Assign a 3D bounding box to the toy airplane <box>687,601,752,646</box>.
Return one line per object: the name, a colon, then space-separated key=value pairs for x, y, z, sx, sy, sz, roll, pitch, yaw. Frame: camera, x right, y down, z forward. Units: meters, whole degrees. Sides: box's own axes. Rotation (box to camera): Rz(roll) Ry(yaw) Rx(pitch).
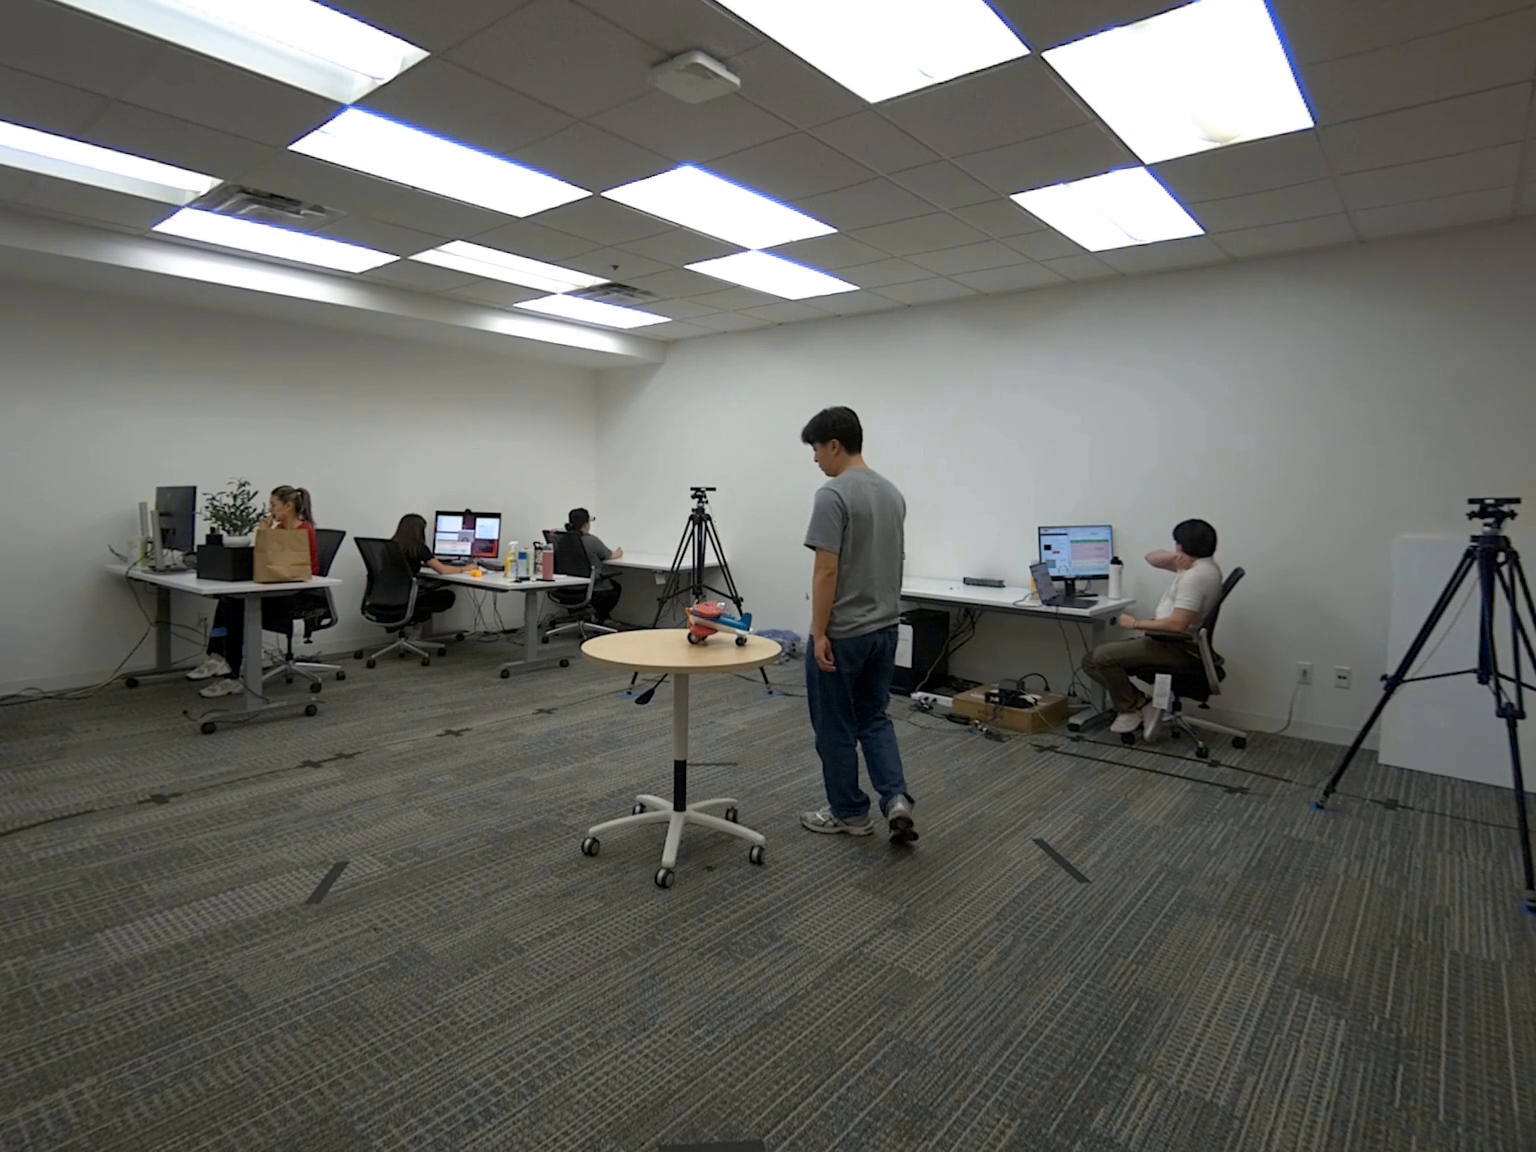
toy airplane: x=-0.202 y=0.181 z=3.344 sx=0.255 sy=0.155 sz=0.256 roll=-1 pitch=7 yaw=-15
